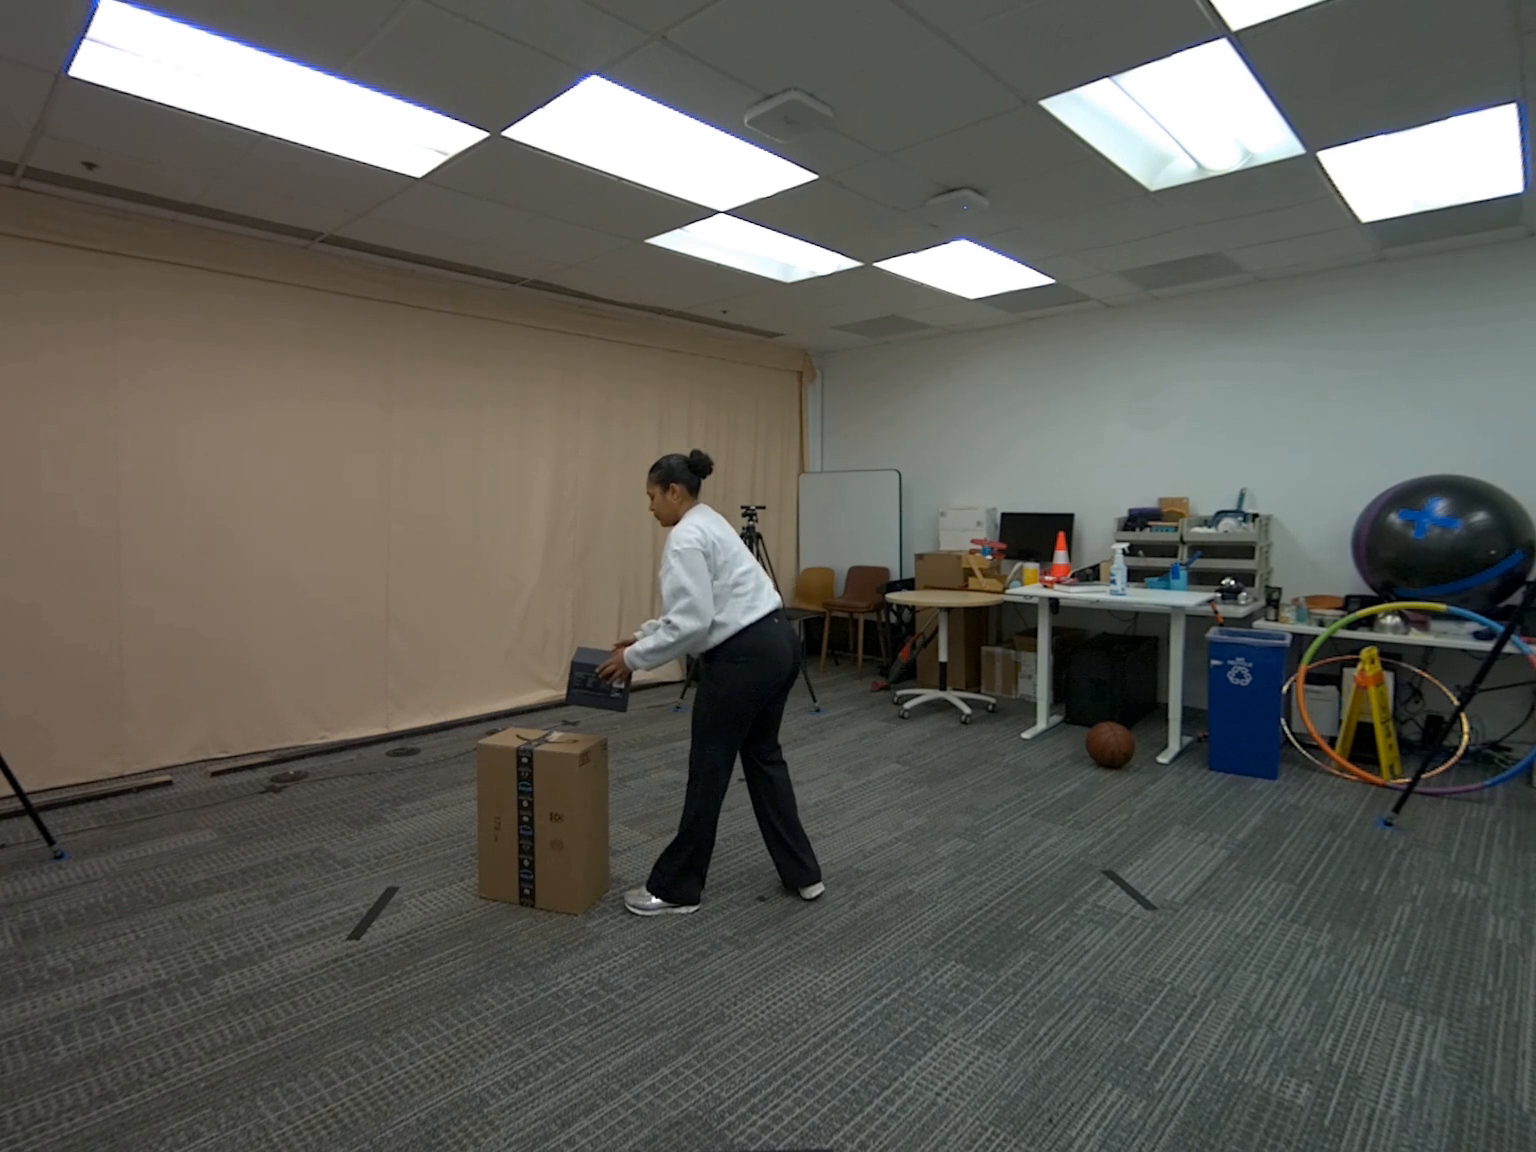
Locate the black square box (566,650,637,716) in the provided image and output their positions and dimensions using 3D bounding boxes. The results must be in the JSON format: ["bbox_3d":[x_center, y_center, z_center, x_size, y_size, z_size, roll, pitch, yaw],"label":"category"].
[{"bbox_3d":[-0.583,0.372,2.988,0.215,0.155,0.230,7,4,-7],"label":"black square box"}]
